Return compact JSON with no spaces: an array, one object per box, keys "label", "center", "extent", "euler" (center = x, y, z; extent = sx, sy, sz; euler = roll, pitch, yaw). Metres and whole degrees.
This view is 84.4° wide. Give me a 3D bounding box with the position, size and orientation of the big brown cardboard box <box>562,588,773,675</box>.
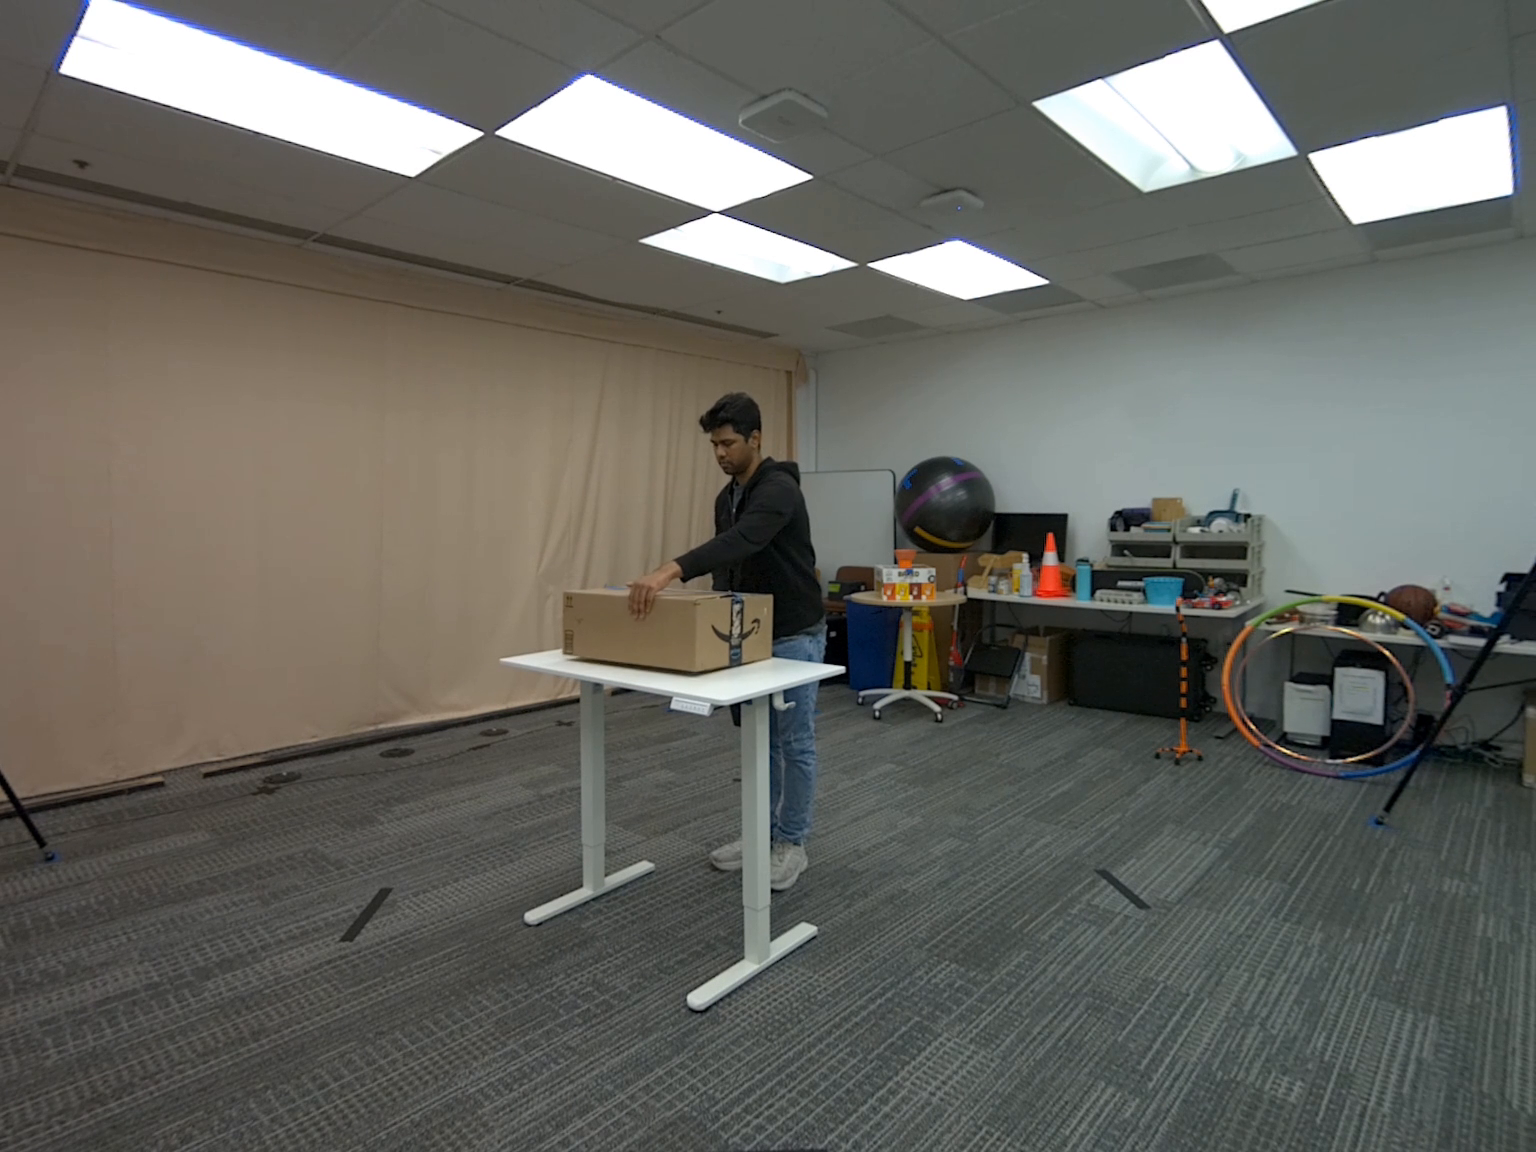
[{"label":"big brown cardboard box","center":[-0.332,0.155,2.817],"extent":[0.607,0.233,0.405],"euler":[1,1,34]}]
